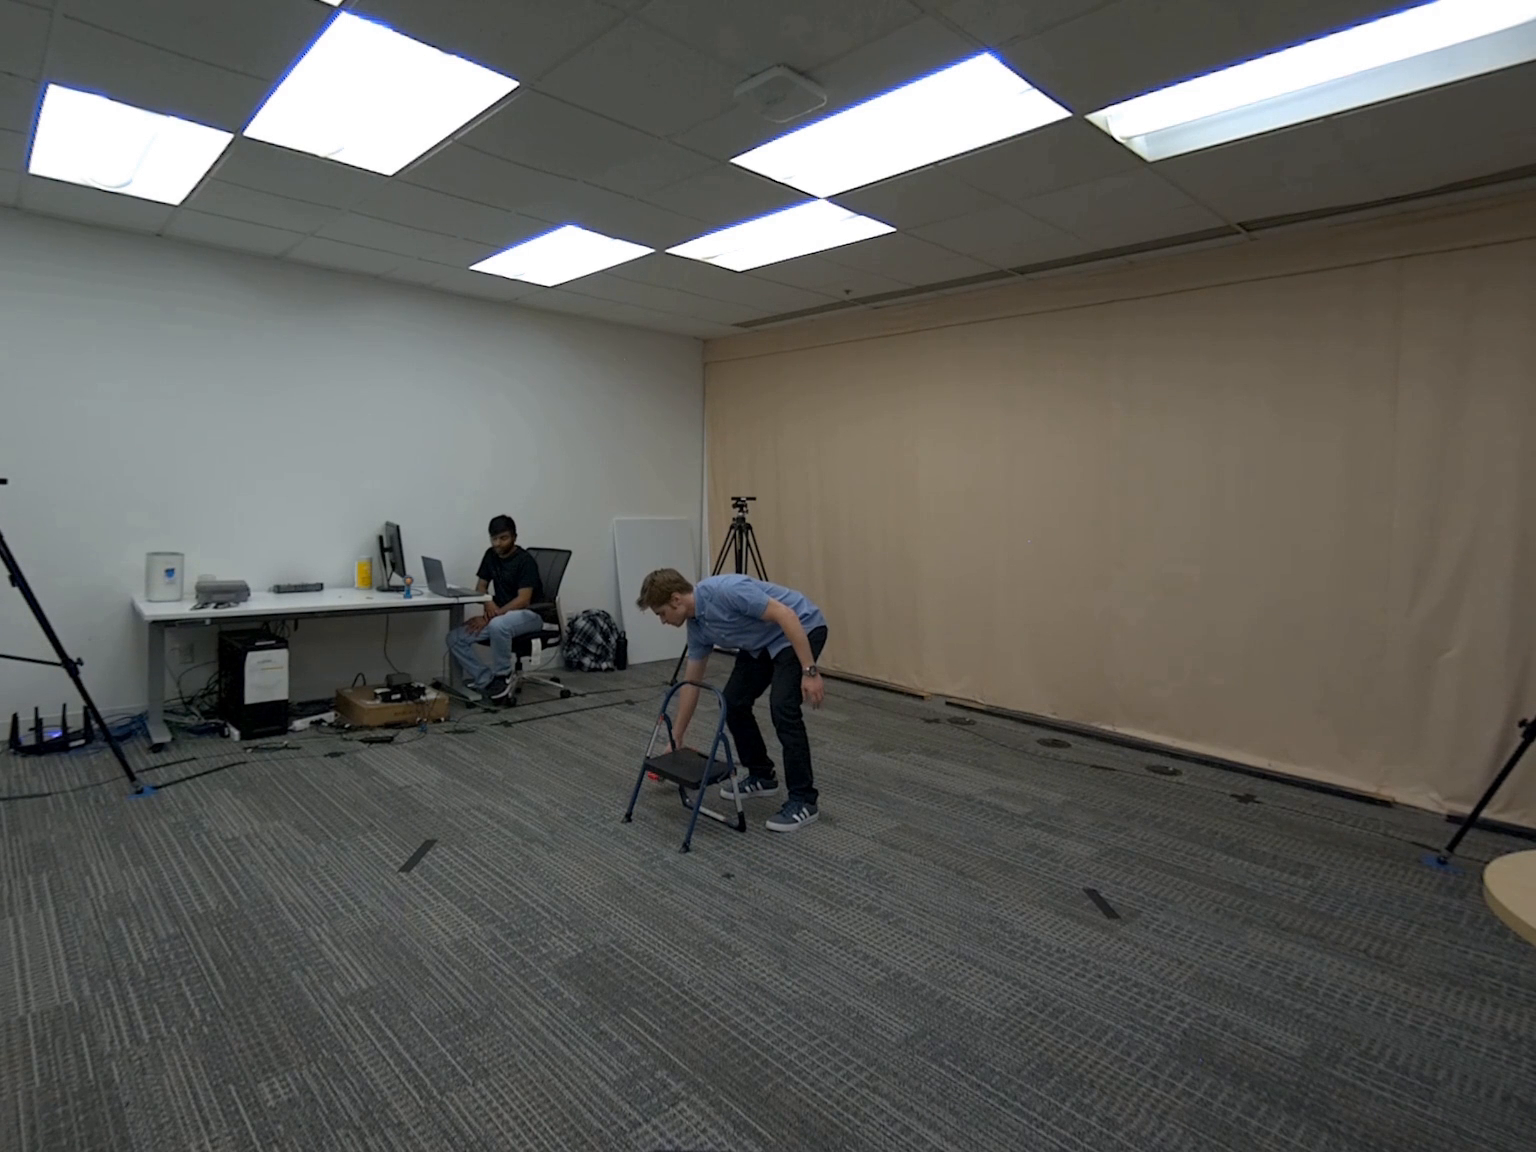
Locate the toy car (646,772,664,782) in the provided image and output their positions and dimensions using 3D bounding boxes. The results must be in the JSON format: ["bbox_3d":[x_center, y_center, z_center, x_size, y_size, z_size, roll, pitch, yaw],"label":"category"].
[{"bbox_3d":[-0.452,0.896,3.996,0.253,0.082,0.133,-34,15,-28],"label":"toy car"}]
